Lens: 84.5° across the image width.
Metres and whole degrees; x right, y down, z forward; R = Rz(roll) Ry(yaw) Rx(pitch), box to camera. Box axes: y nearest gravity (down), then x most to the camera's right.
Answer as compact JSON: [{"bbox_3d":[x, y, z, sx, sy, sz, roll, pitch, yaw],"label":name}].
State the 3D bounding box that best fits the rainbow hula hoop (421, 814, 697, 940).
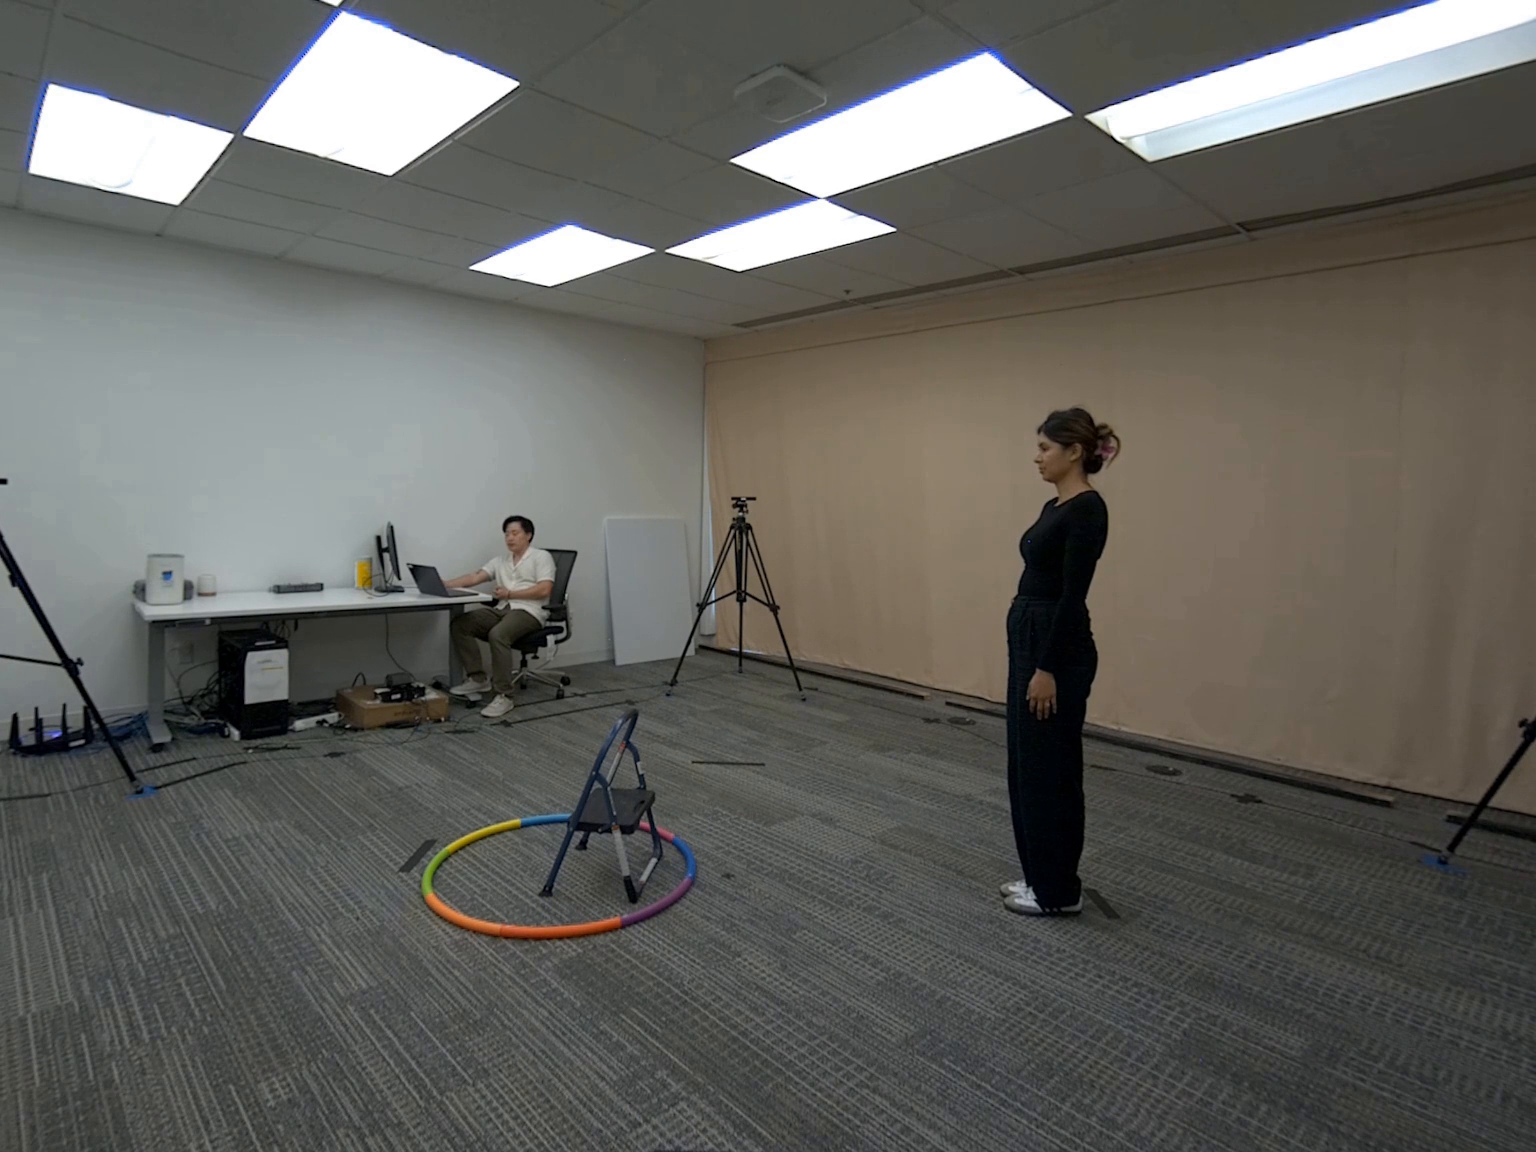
[{"bbox_3d":[-0.754,1.060,3.109,0.978,0.035,0.982,2,5,-1],"label":"rainbow hula hoop"}]
